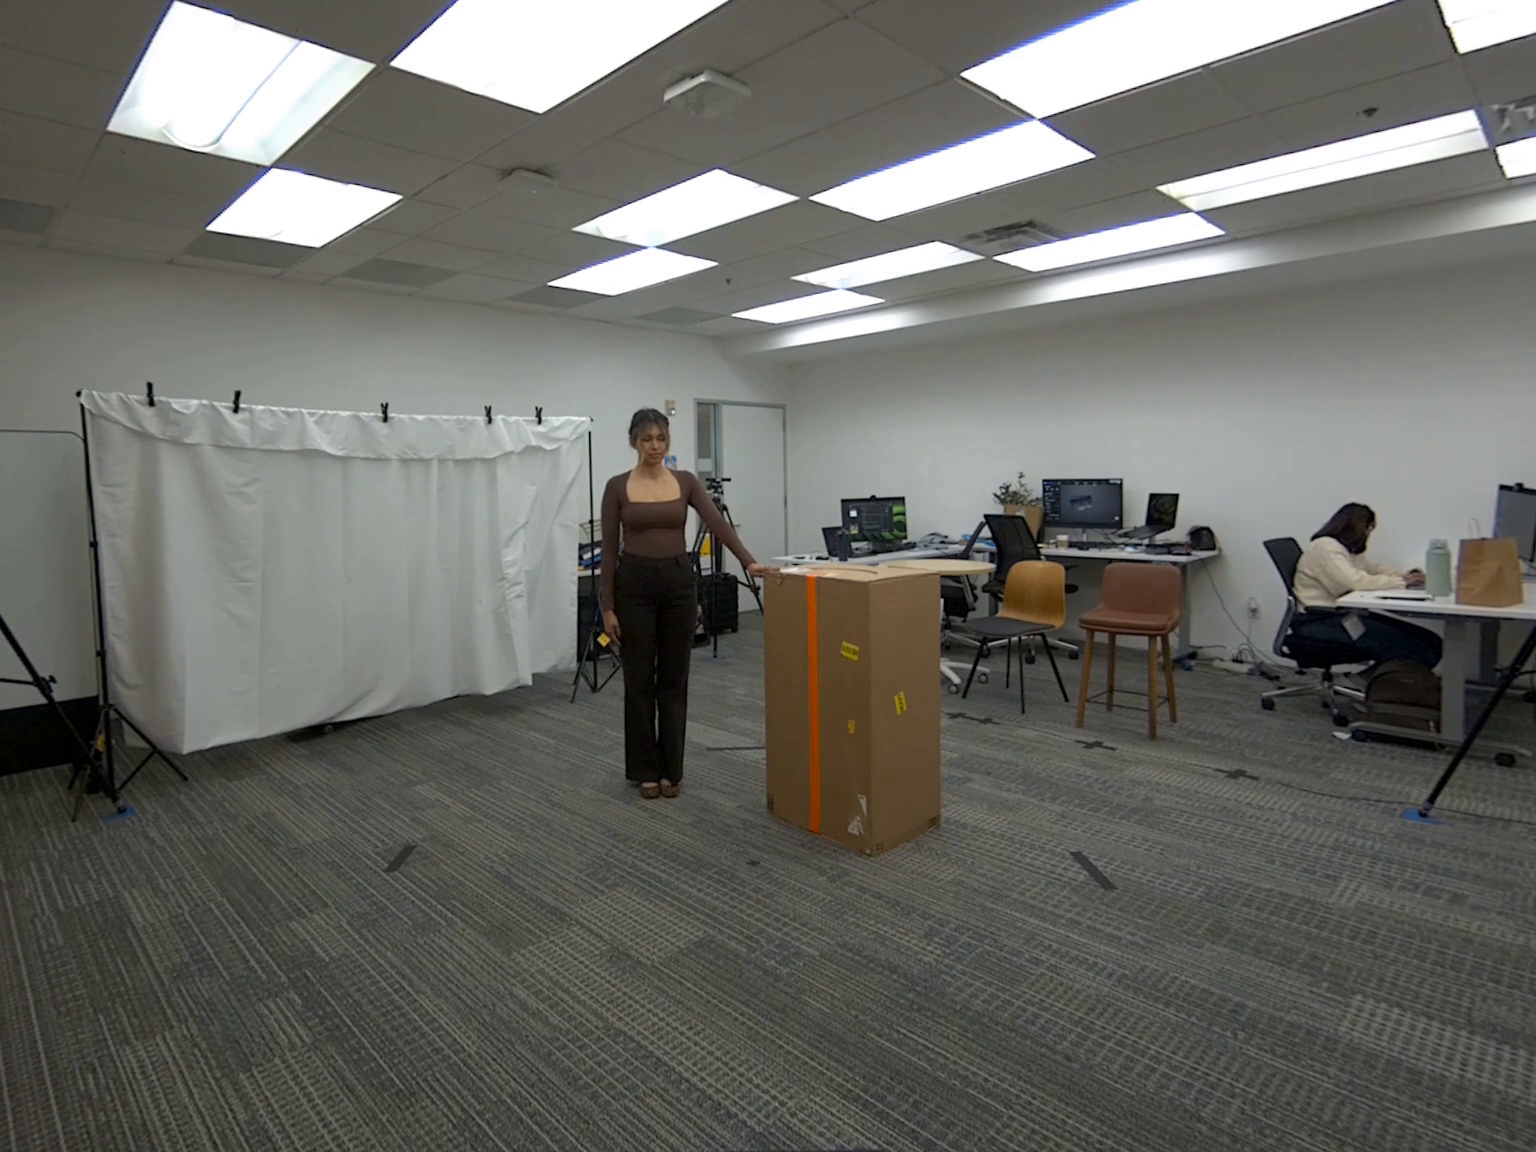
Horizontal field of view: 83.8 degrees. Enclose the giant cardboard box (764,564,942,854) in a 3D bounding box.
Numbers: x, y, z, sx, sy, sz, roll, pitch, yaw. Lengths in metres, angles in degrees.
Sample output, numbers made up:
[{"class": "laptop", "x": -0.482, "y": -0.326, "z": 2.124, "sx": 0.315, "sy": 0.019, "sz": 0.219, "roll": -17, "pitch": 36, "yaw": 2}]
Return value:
[{"class": "giant cardboard box", "x": 0.334, "y": 0.487, "z": 3.456, "sx": 0.435, "sy": 1.023, "sz": 0.602, "roll": -5, "pitch": 6, "yaw": -39}]
